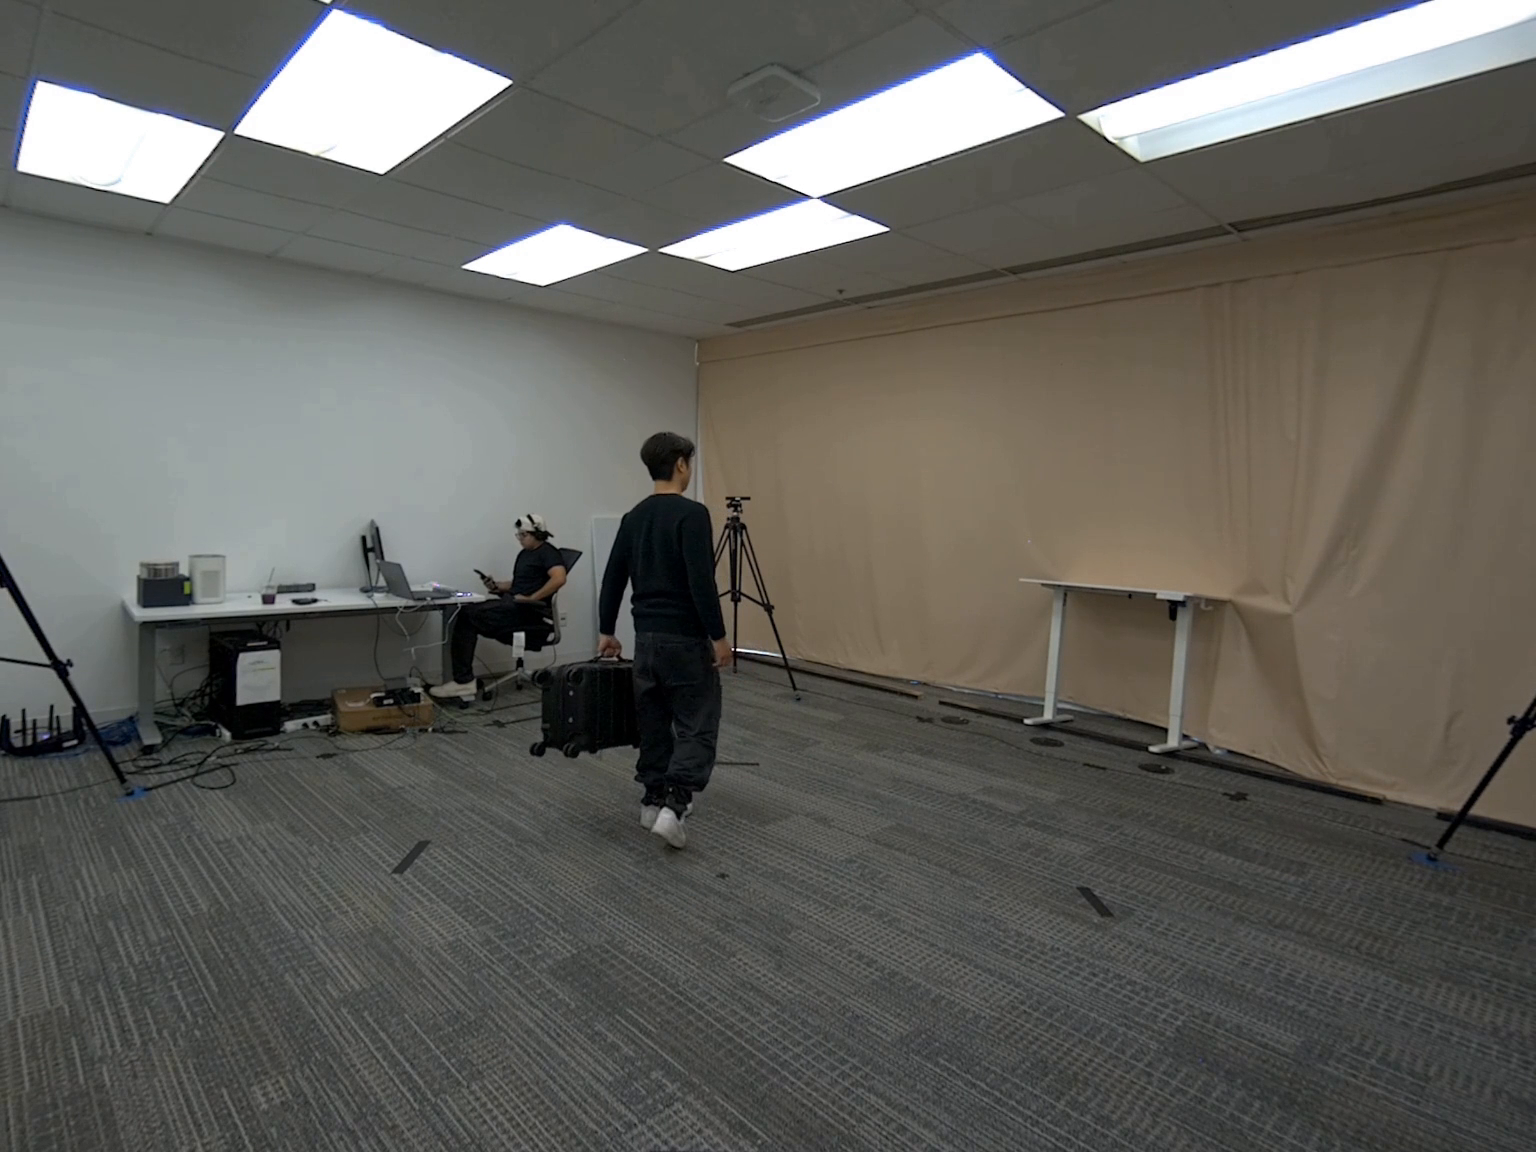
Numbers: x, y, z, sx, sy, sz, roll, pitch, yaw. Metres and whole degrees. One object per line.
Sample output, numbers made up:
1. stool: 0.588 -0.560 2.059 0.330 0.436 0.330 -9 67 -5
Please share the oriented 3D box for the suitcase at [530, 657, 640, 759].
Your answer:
1. suitcase: -0.624 0.568 3.766 0.262 0.386 0.955 -4 -7 30
